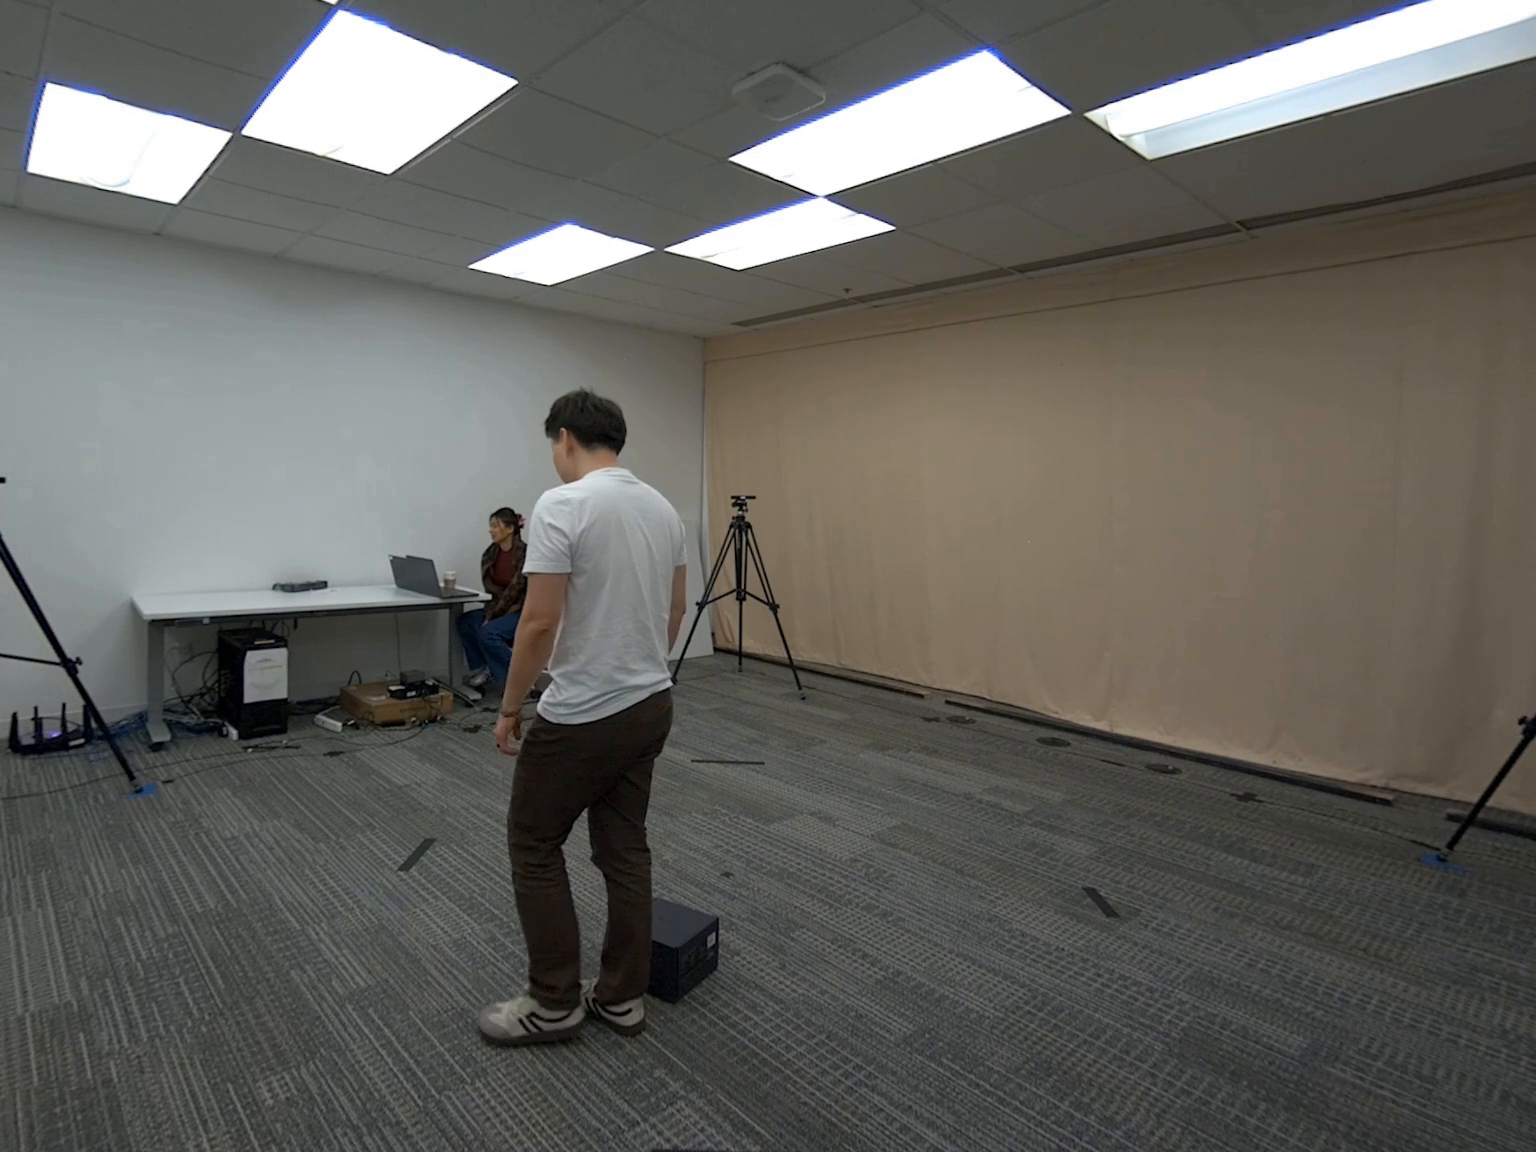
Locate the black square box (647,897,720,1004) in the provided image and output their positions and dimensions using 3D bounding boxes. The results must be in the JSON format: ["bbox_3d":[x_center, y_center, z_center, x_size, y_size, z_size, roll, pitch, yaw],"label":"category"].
[{"bbox_3d":[-0.302,1.078,2.441,0.233,0.155,0.213,4,5,30],"label":"black square box"}]
